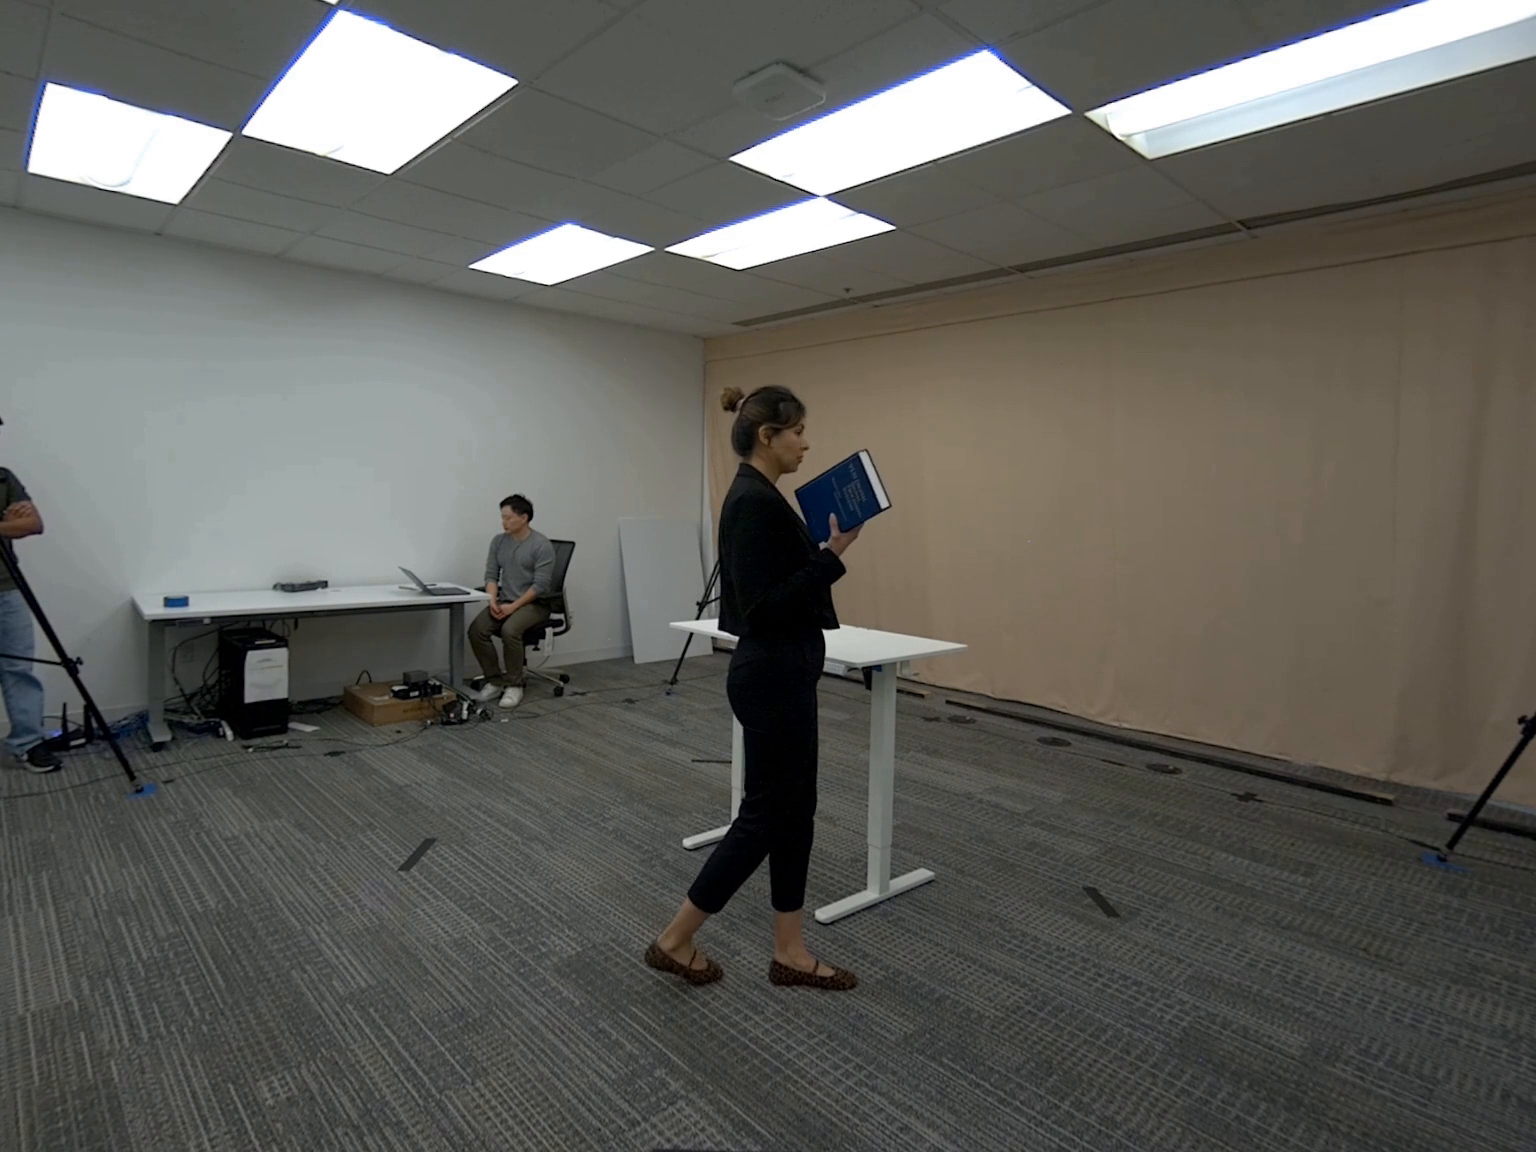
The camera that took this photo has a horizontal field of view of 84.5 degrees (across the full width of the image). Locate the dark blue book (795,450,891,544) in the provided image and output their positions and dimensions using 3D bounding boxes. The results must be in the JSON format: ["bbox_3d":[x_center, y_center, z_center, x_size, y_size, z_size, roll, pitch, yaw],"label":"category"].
[{"bbox_3d":[0.178,-0.198,2.170,0.044,0.165,0.247,-11,-13,-45],"label":"dark blue book"}]
